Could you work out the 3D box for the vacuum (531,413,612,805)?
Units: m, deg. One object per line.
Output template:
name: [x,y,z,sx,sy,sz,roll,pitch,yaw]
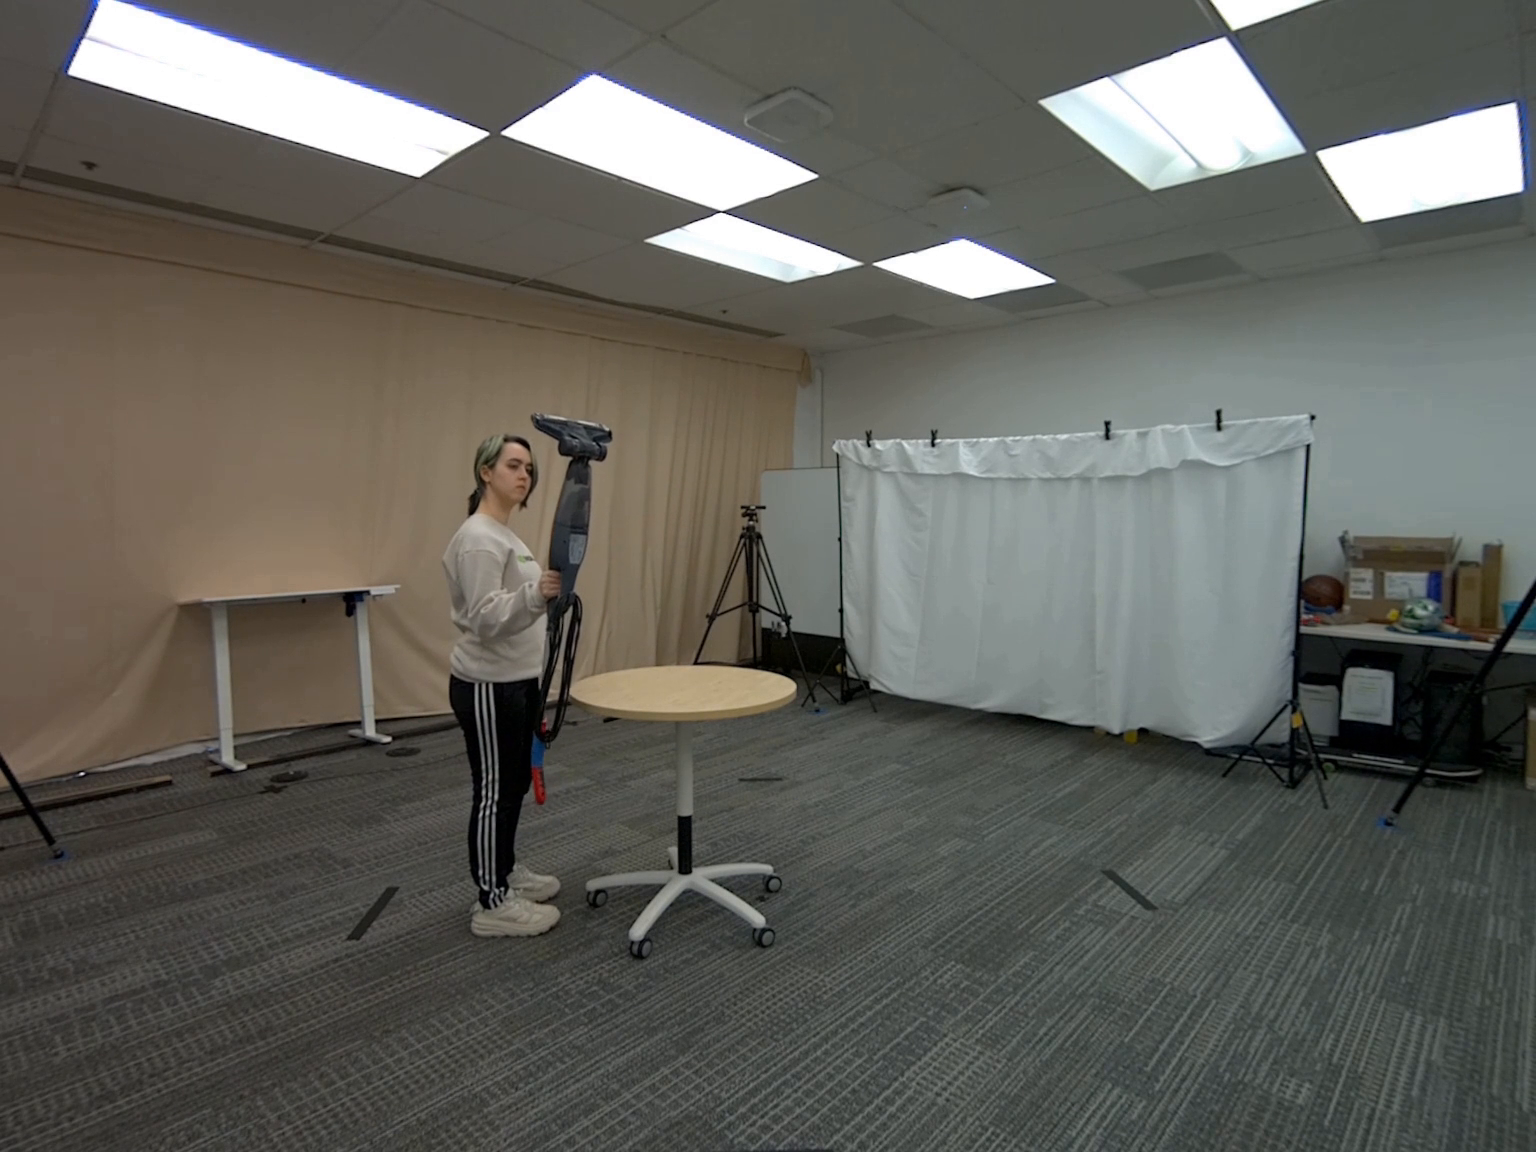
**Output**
vacuum: [-0.592,0.108,2.394,0.244,1.048,0.149,3,2,-42]
